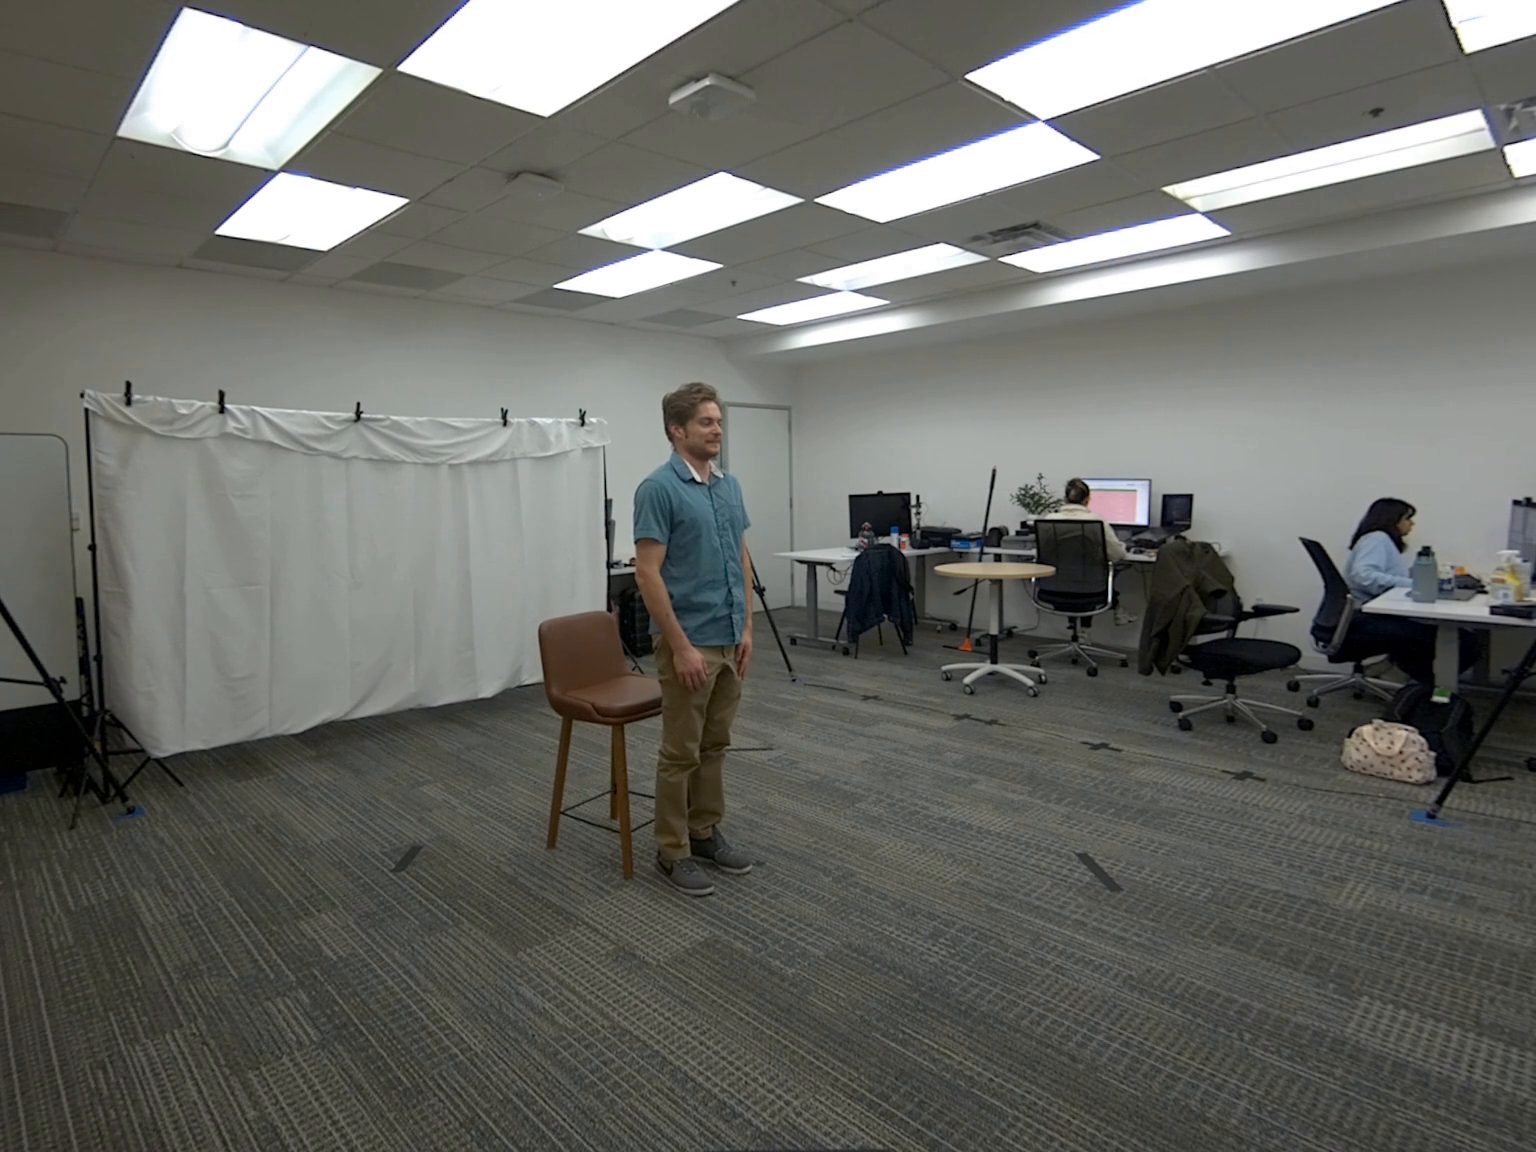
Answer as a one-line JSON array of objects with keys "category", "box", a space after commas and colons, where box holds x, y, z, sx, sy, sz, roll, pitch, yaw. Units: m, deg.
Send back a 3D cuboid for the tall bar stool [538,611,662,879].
[{"category": "tall bar stool", "box": [-0.574, 0.603, 3.283, 0.480, 0.888, 0.445, -1, 3, 36]}]
